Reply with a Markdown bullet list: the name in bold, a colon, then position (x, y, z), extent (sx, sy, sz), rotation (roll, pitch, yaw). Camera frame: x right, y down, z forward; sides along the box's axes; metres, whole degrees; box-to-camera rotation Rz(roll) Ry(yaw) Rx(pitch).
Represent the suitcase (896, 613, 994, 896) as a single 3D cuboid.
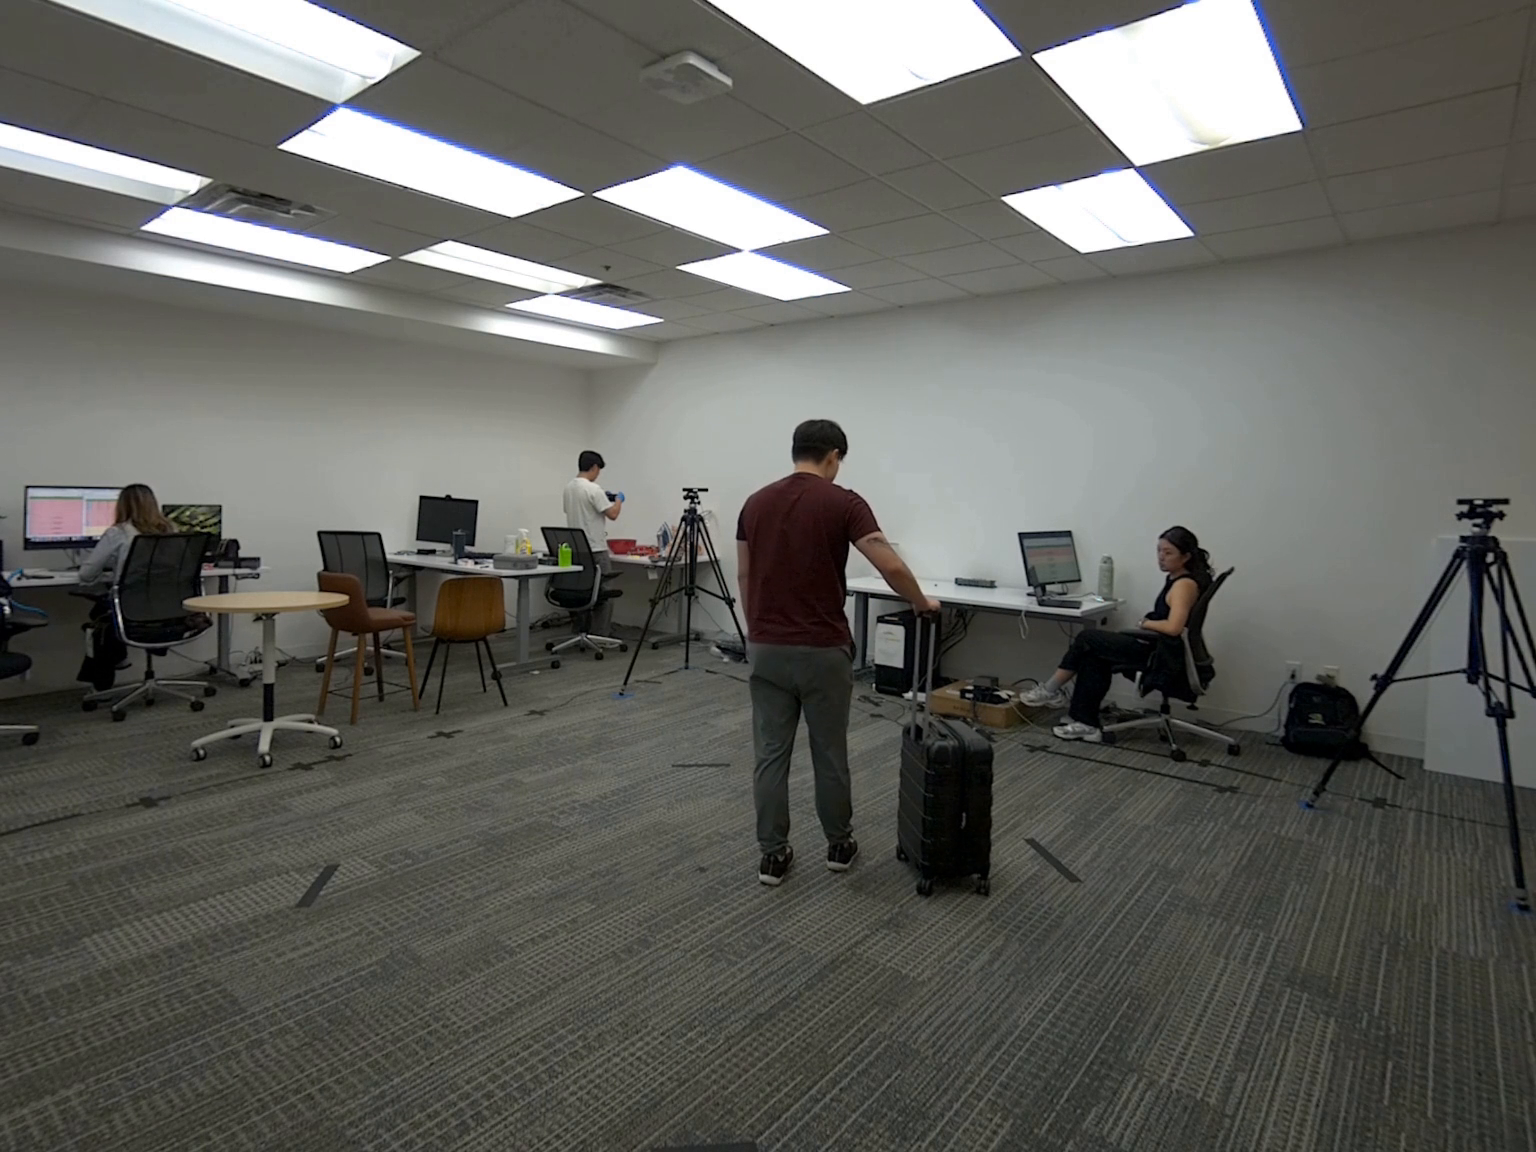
- **suitcase**: position (0.654, 0.616, 3.109), extent (0.255, 0.977, 0.387), rotation (4, 2, -6)
